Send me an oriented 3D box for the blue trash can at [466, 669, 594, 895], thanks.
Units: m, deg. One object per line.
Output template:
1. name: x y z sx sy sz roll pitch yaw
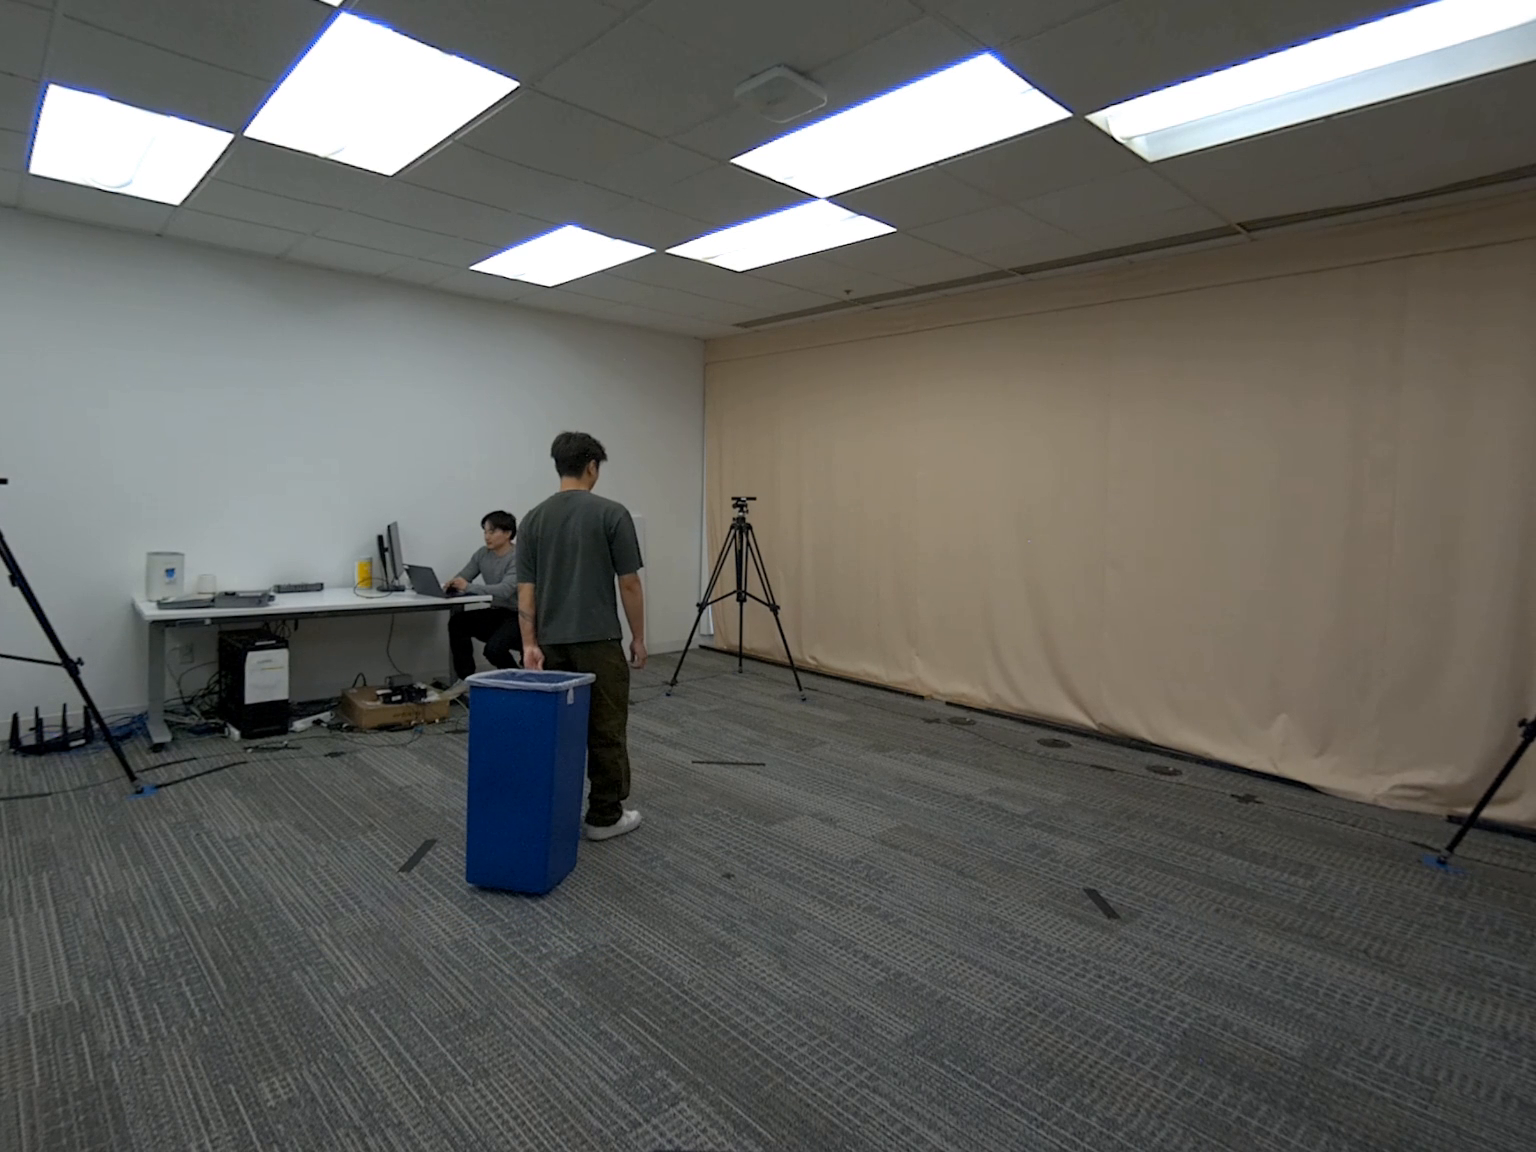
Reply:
1. blue trash can: -0.896 0.727 3.058 0.378 0.714 0.374 3 -2 11
